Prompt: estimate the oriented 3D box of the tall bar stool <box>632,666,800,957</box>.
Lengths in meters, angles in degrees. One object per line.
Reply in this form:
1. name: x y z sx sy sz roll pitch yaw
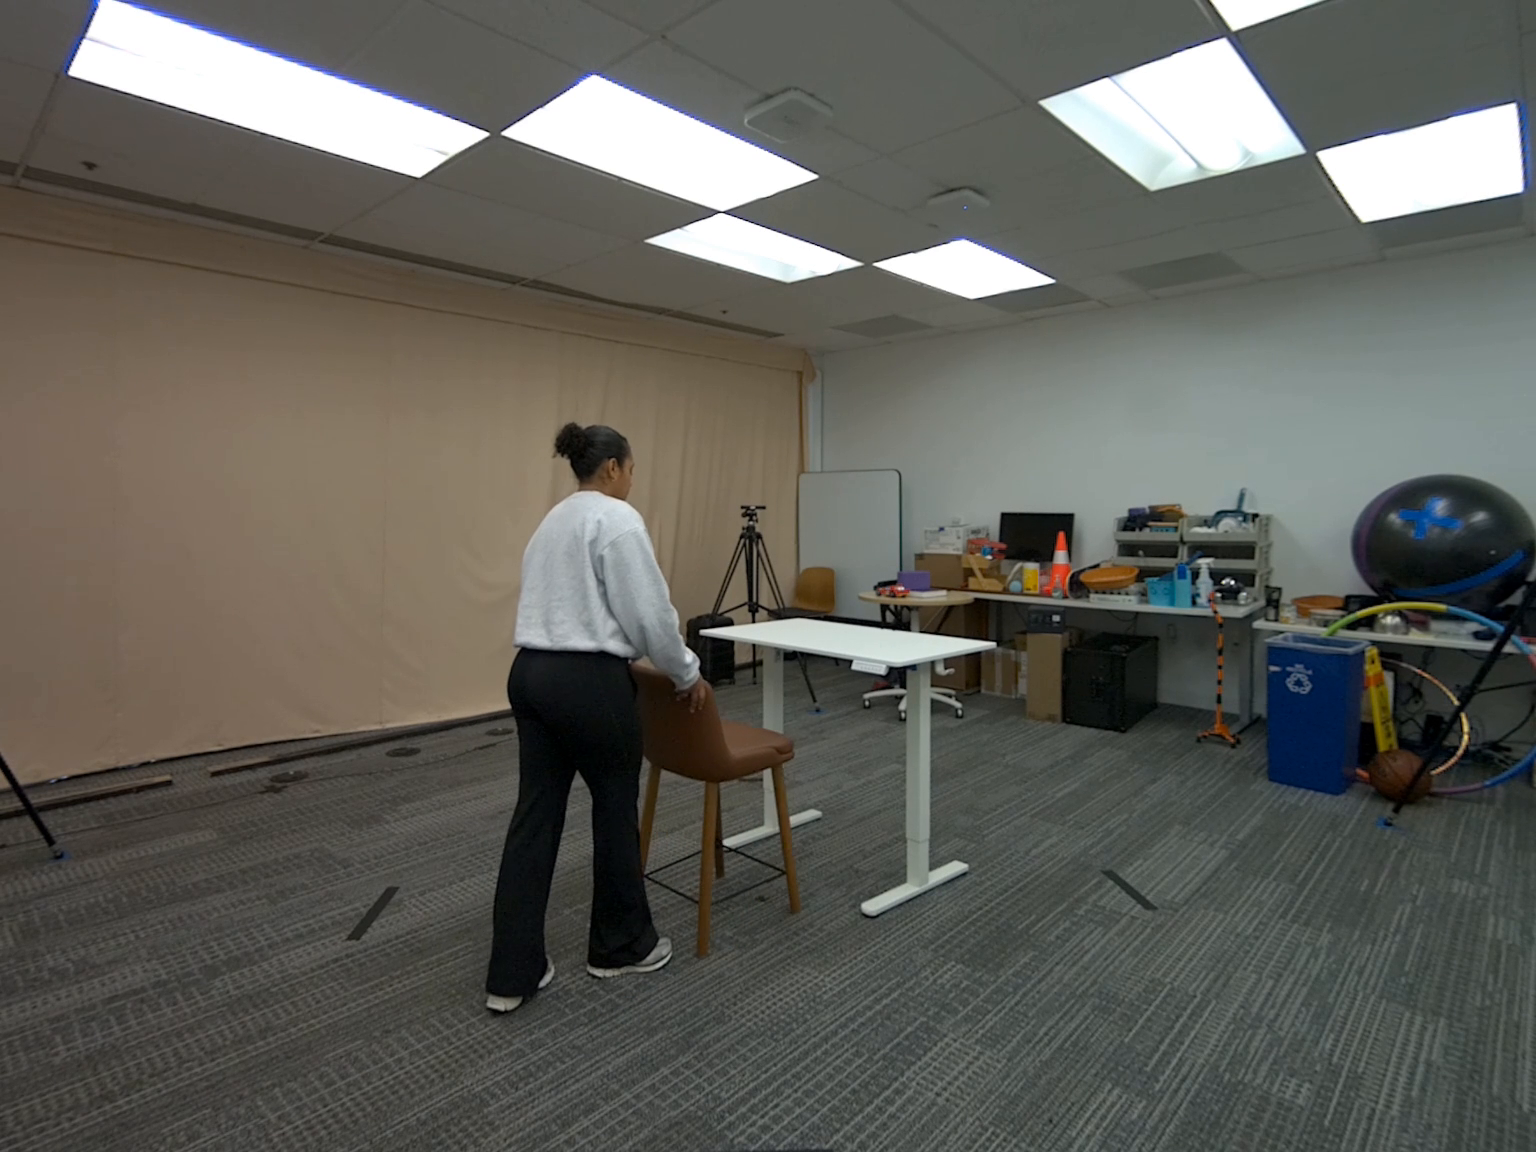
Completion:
1. tall bar stool: -0.193 0.717 2.850 0.454 0.887 0.472 -6 6 -44
